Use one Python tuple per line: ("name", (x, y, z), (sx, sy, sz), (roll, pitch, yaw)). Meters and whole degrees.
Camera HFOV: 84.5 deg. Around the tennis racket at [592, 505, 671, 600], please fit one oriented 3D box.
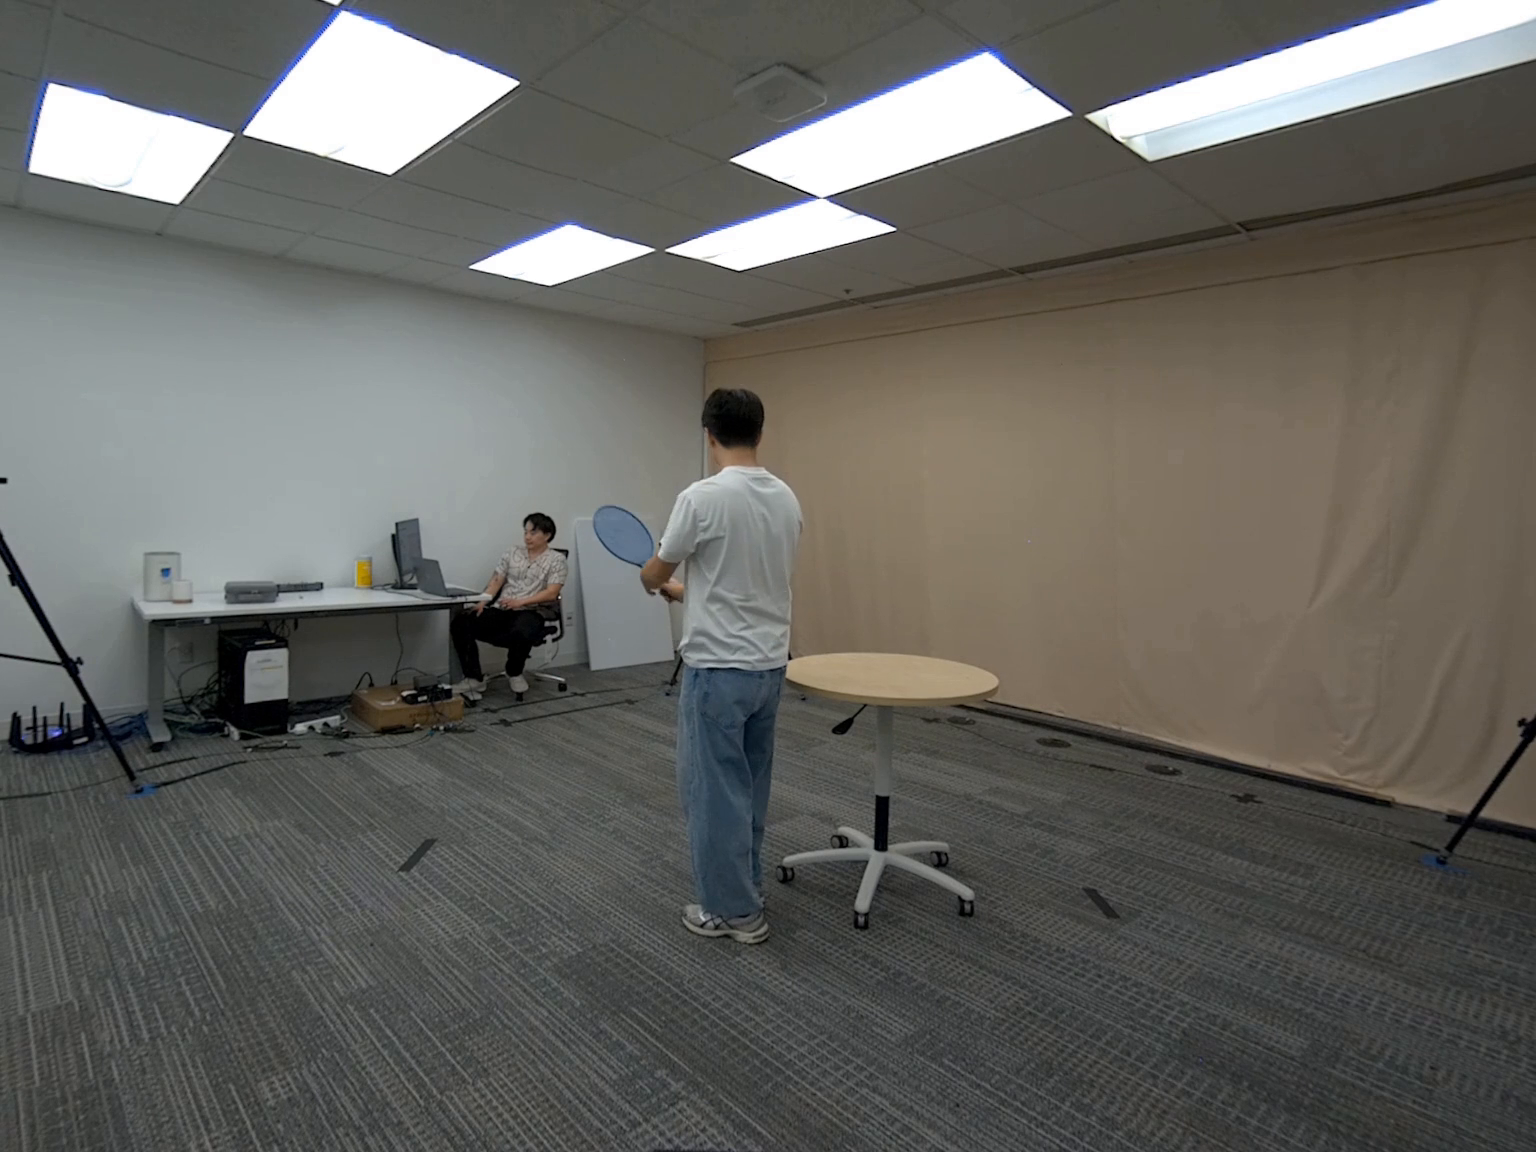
("tennis racket", (-0.467, -0.083, 3.051), (0.212, 0.438, 0.032), (-30, -15, -48))
